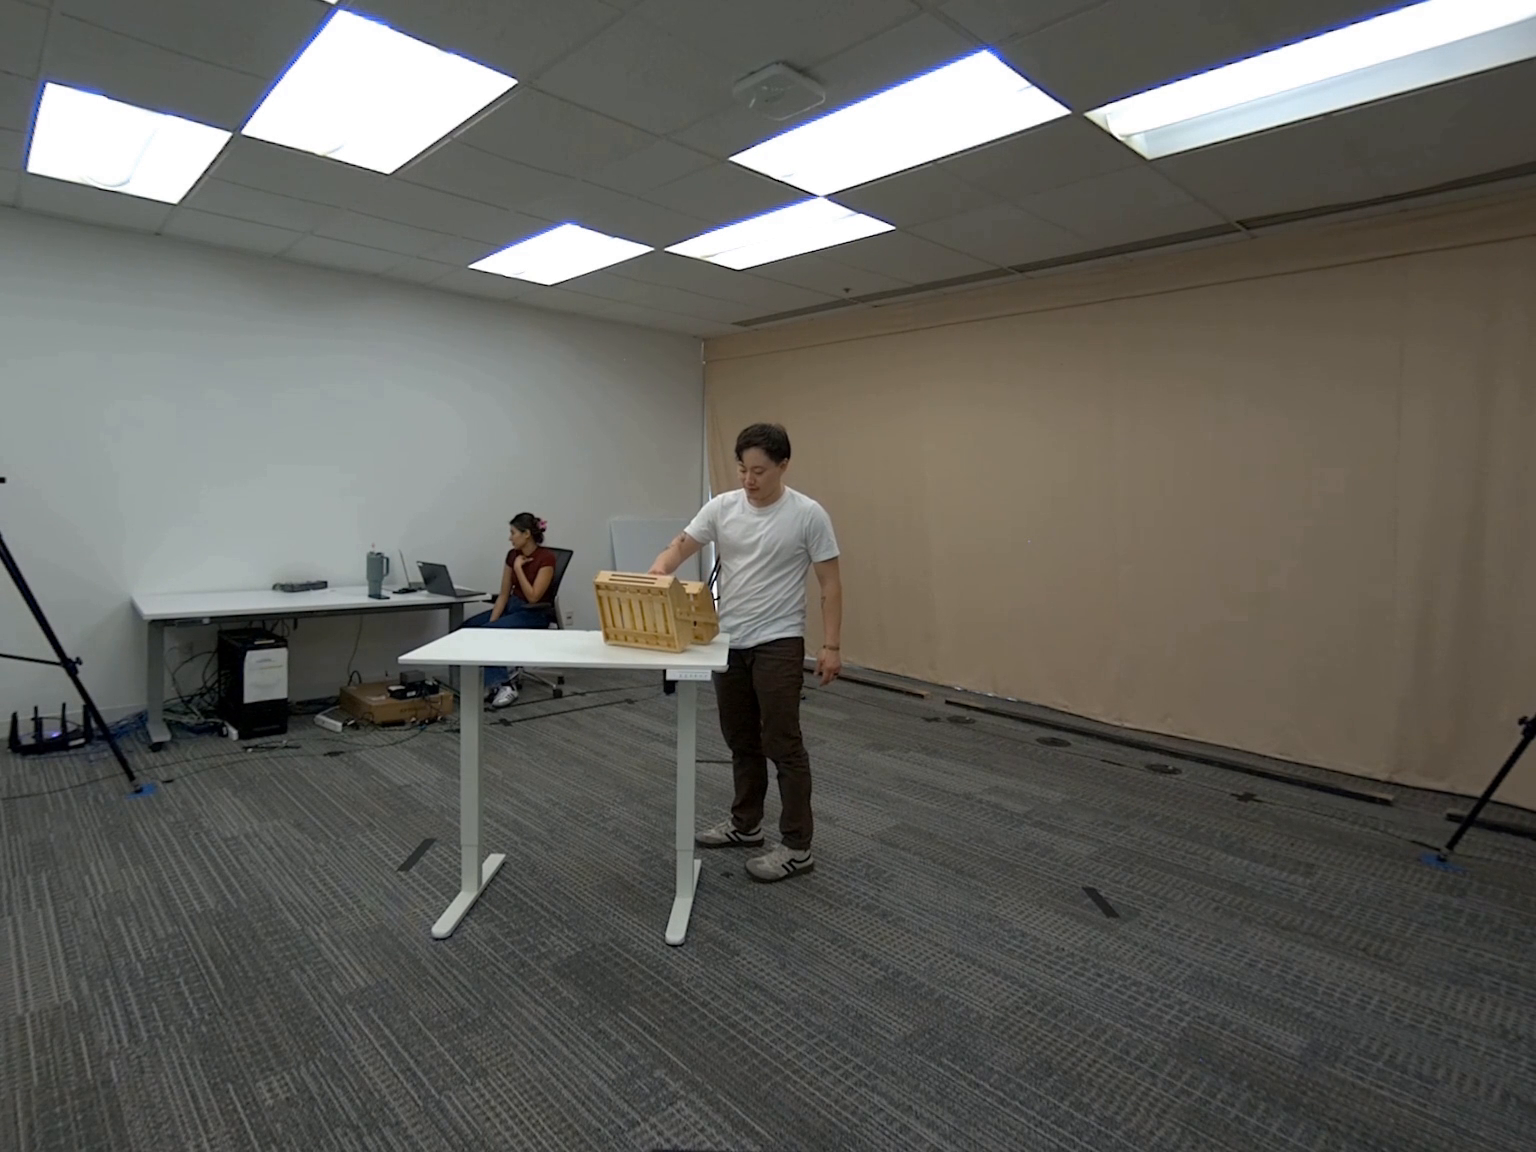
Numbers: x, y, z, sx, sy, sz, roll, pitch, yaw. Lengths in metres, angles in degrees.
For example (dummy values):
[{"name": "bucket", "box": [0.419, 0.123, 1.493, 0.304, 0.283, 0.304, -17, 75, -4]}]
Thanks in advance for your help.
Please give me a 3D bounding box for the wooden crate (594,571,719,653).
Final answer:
[{"name": "wooden crate", "box": [-0.383, 0.097, 2.854, 0.331, 0.297, 0.272, 4, 23, 27]}]
